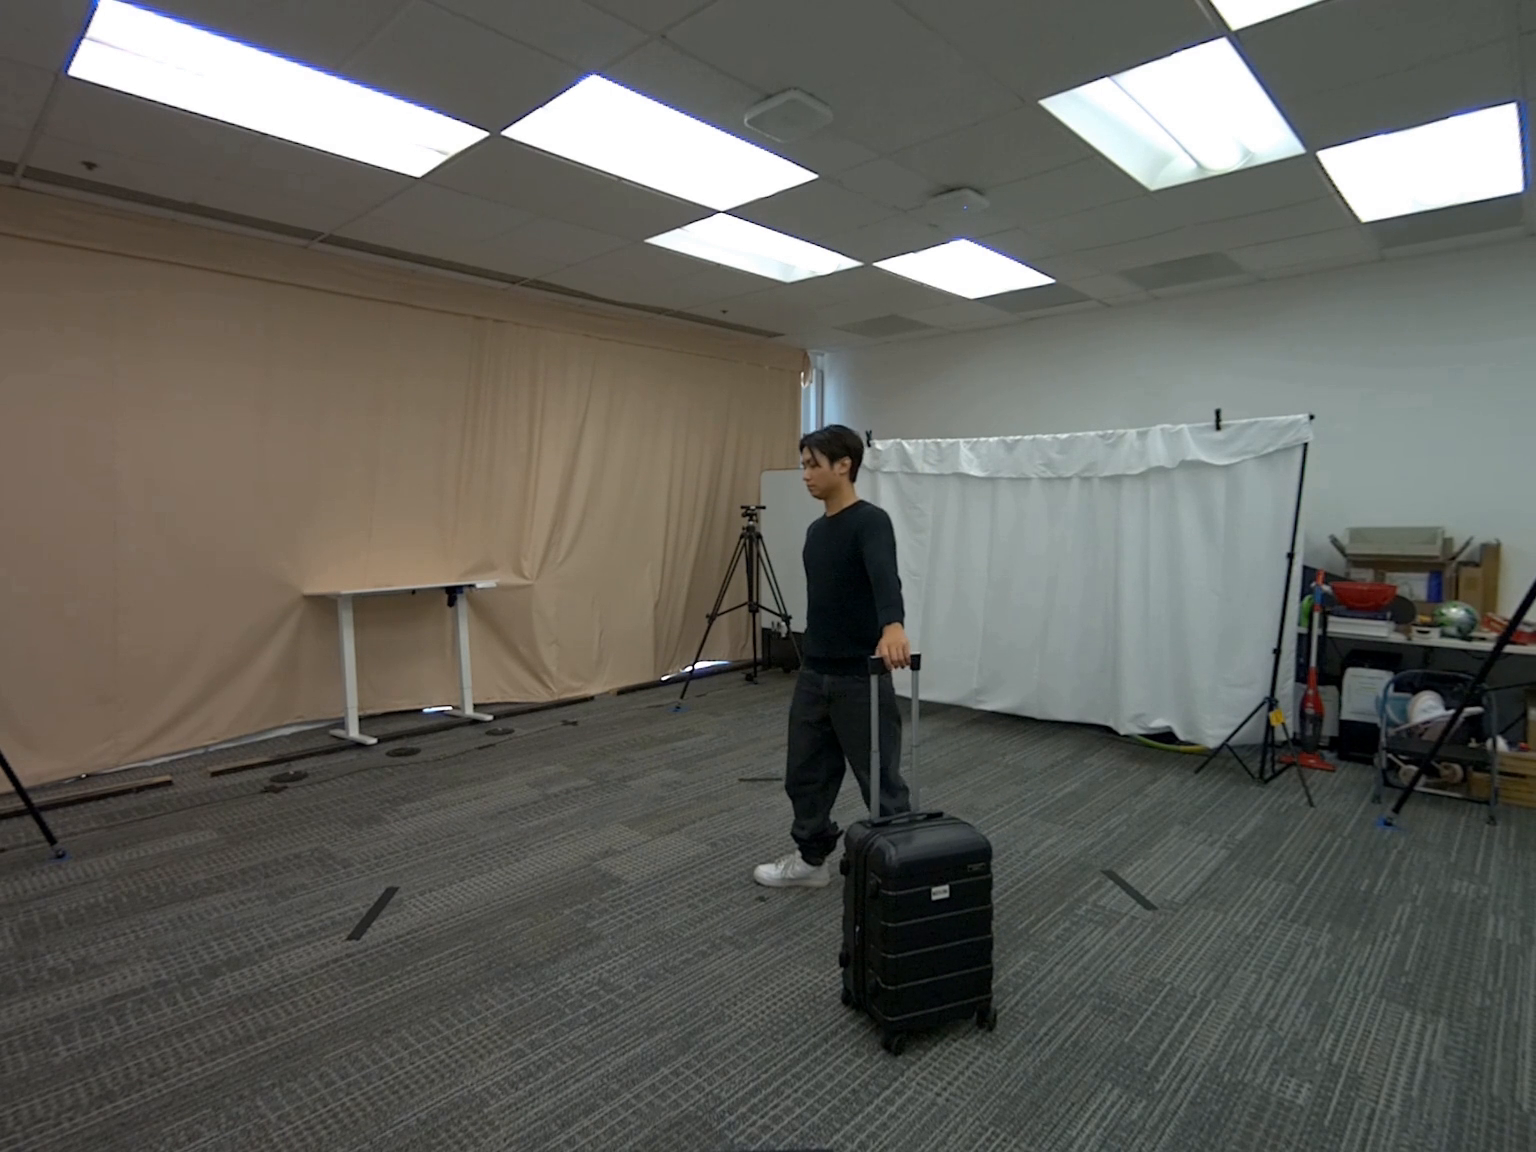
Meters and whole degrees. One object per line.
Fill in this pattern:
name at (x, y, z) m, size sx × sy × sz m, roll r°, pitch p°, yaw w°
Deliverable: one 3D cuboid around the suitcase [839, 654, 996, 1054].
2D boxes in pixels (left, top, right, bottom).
suitcase at (0.407, 0.723, 2.255) m, size 0.377 × 0.975 × 0.262 m, roll -1°, pitch 6°, yaw -18°
